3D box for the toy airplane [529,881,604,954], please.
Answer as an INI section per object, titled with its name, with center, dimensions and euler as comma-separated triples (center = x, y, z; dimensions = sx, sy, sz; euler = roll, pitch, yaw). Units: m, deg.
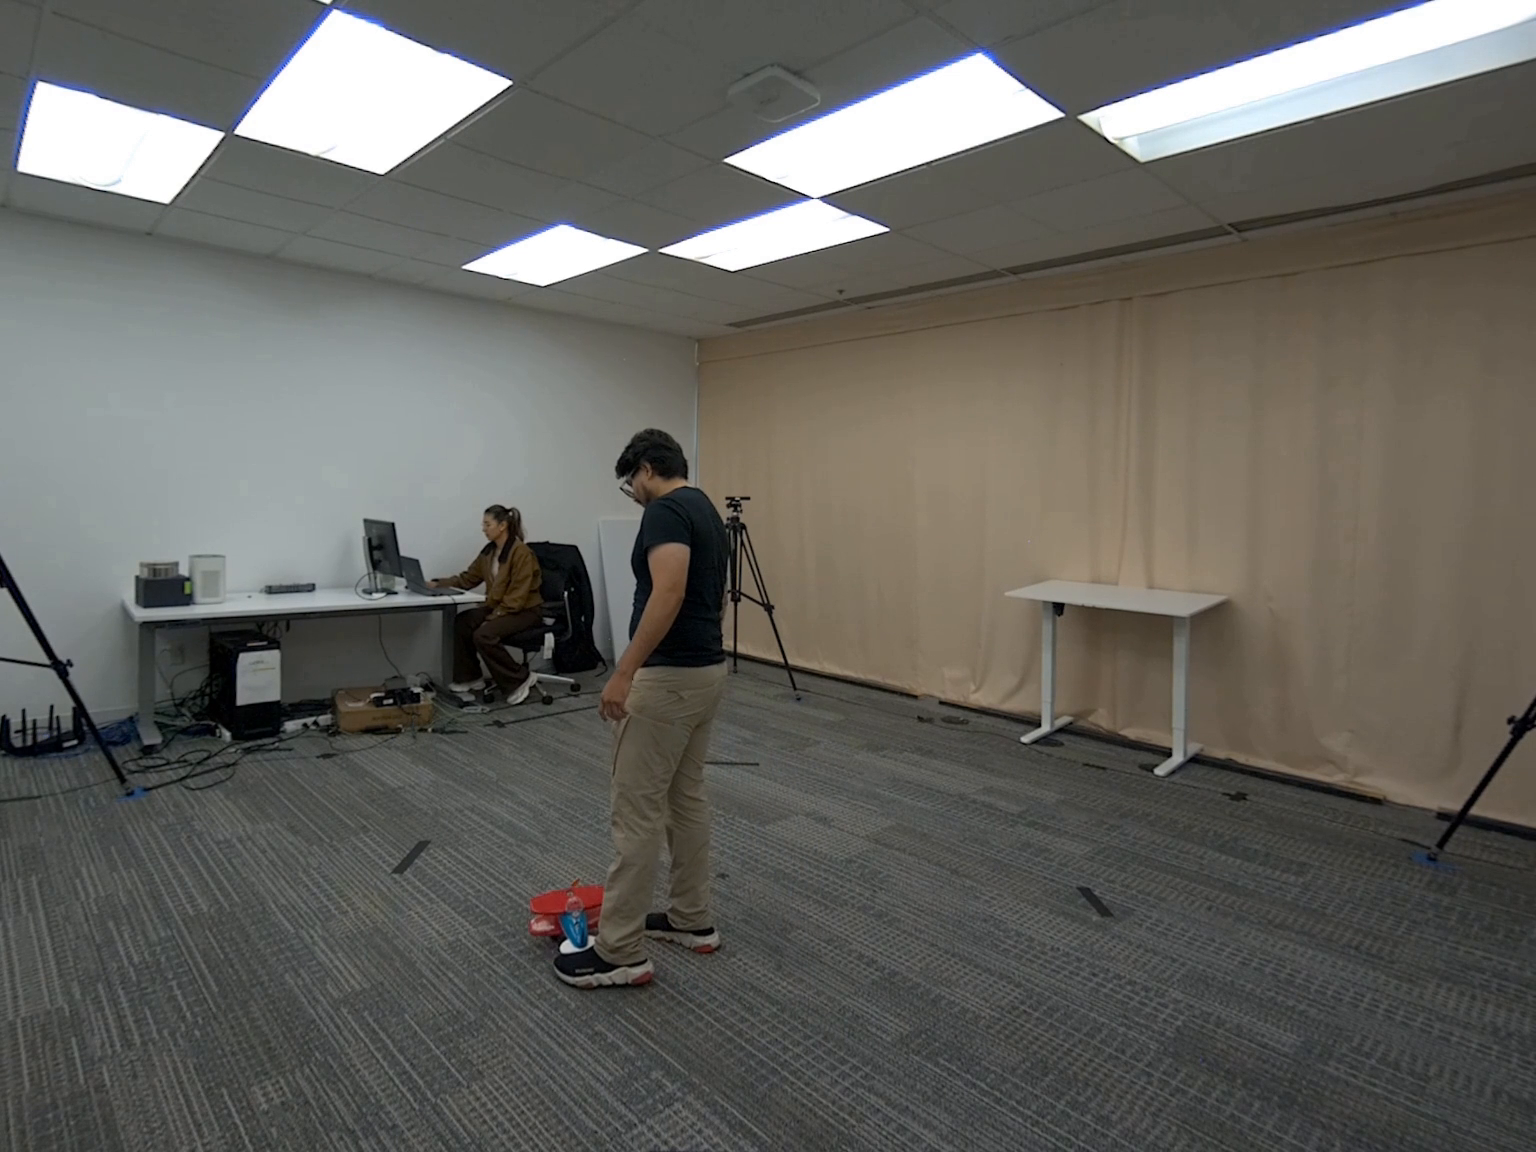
[toy airplane]
center = -0.589, 1.067, 2.591
dimensions = 0.265, 0.156, 0.246
euler = 4, 6, 38
